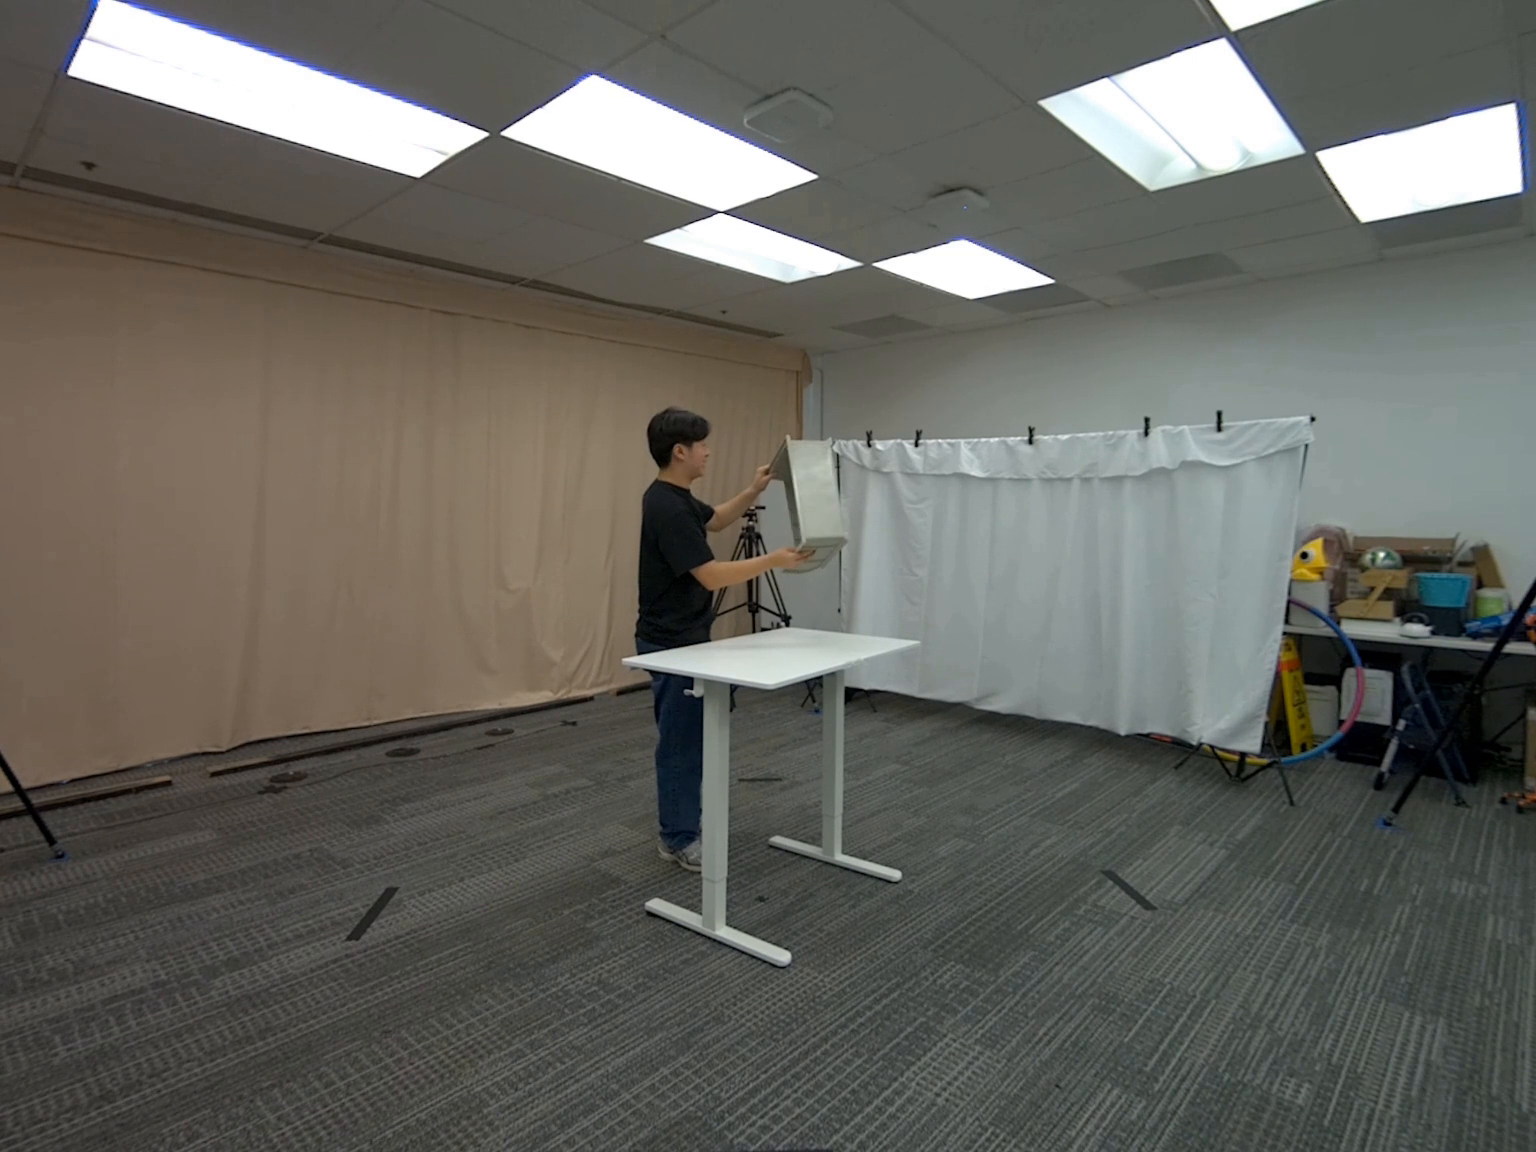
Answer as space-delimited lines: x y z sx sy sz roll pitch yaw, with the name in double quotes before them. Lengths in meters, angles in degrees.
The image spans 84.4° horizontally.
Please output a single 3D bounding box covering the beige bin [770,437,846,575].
"beige bin" 0.143 -0.261 3.211 0.186 0.428 0.377 -2 -19 -14
